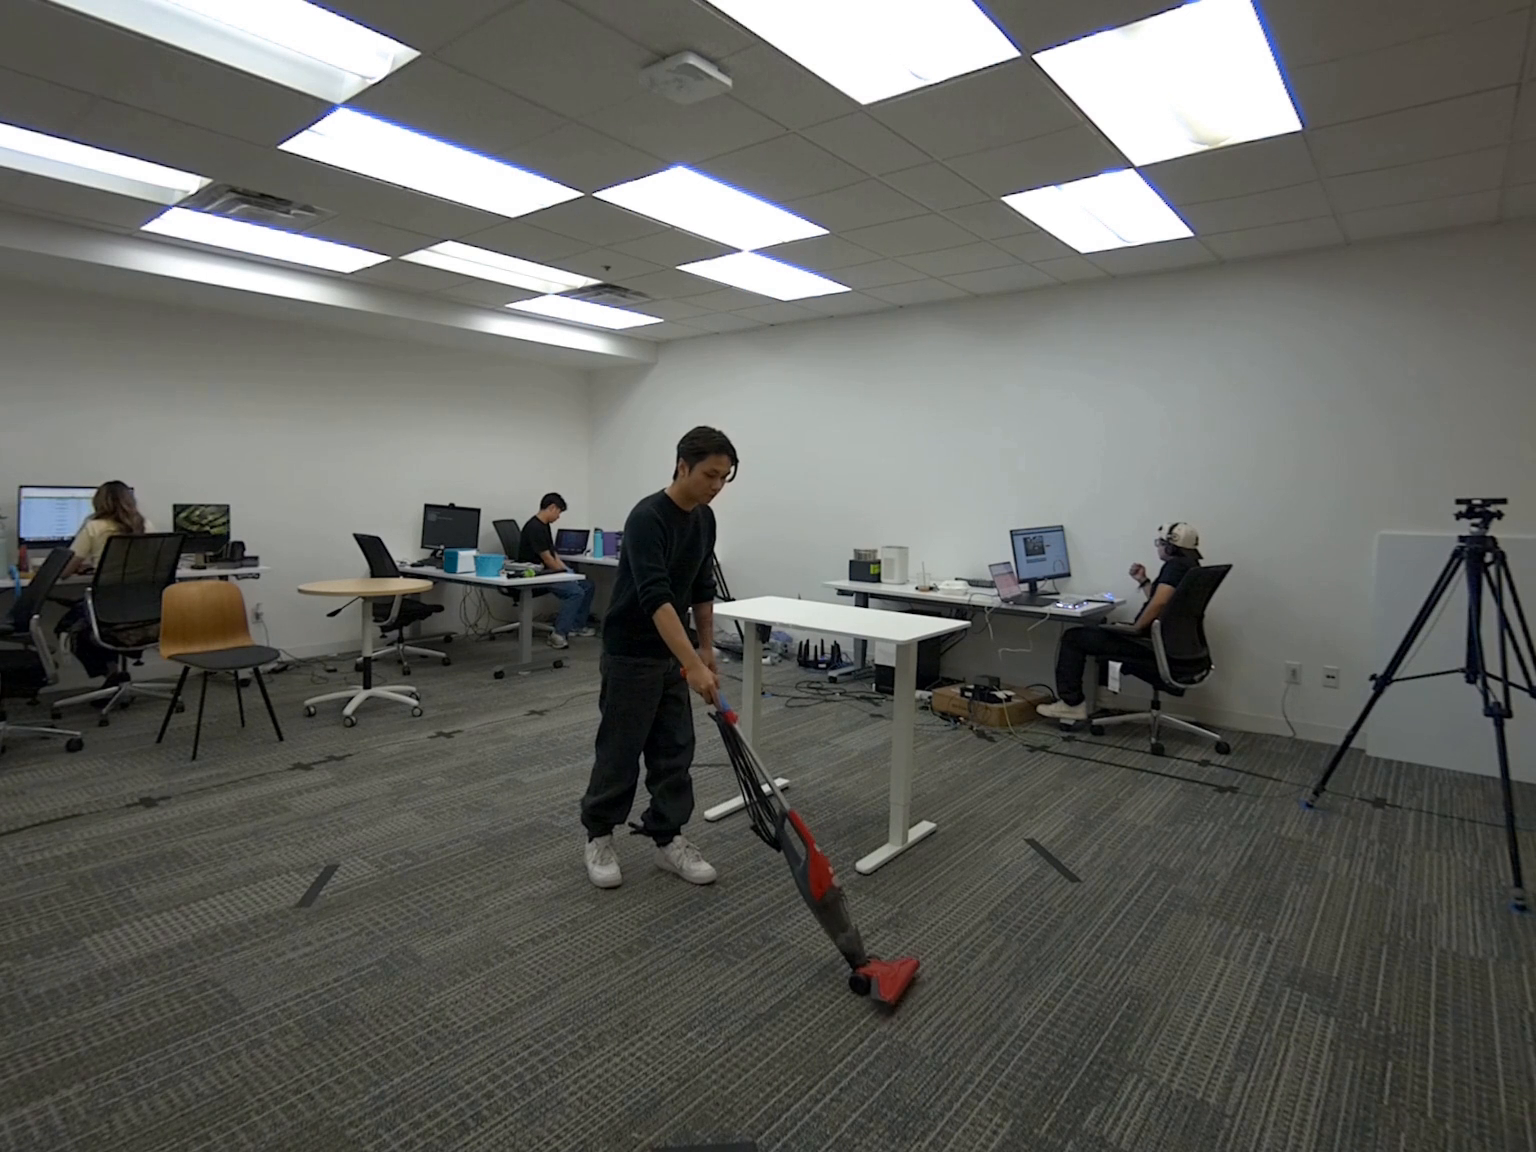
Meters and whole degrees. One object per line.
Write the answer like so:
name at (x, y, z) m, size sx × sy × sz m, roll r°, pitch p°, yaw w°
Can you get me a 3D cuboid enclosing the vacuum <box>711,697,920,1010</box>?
vacuum at (0.027, 0.723, 2.542) m, size 0.144 × 1.076 × 0.246 m, roll -44°, pitch -20°, yaw 23°
